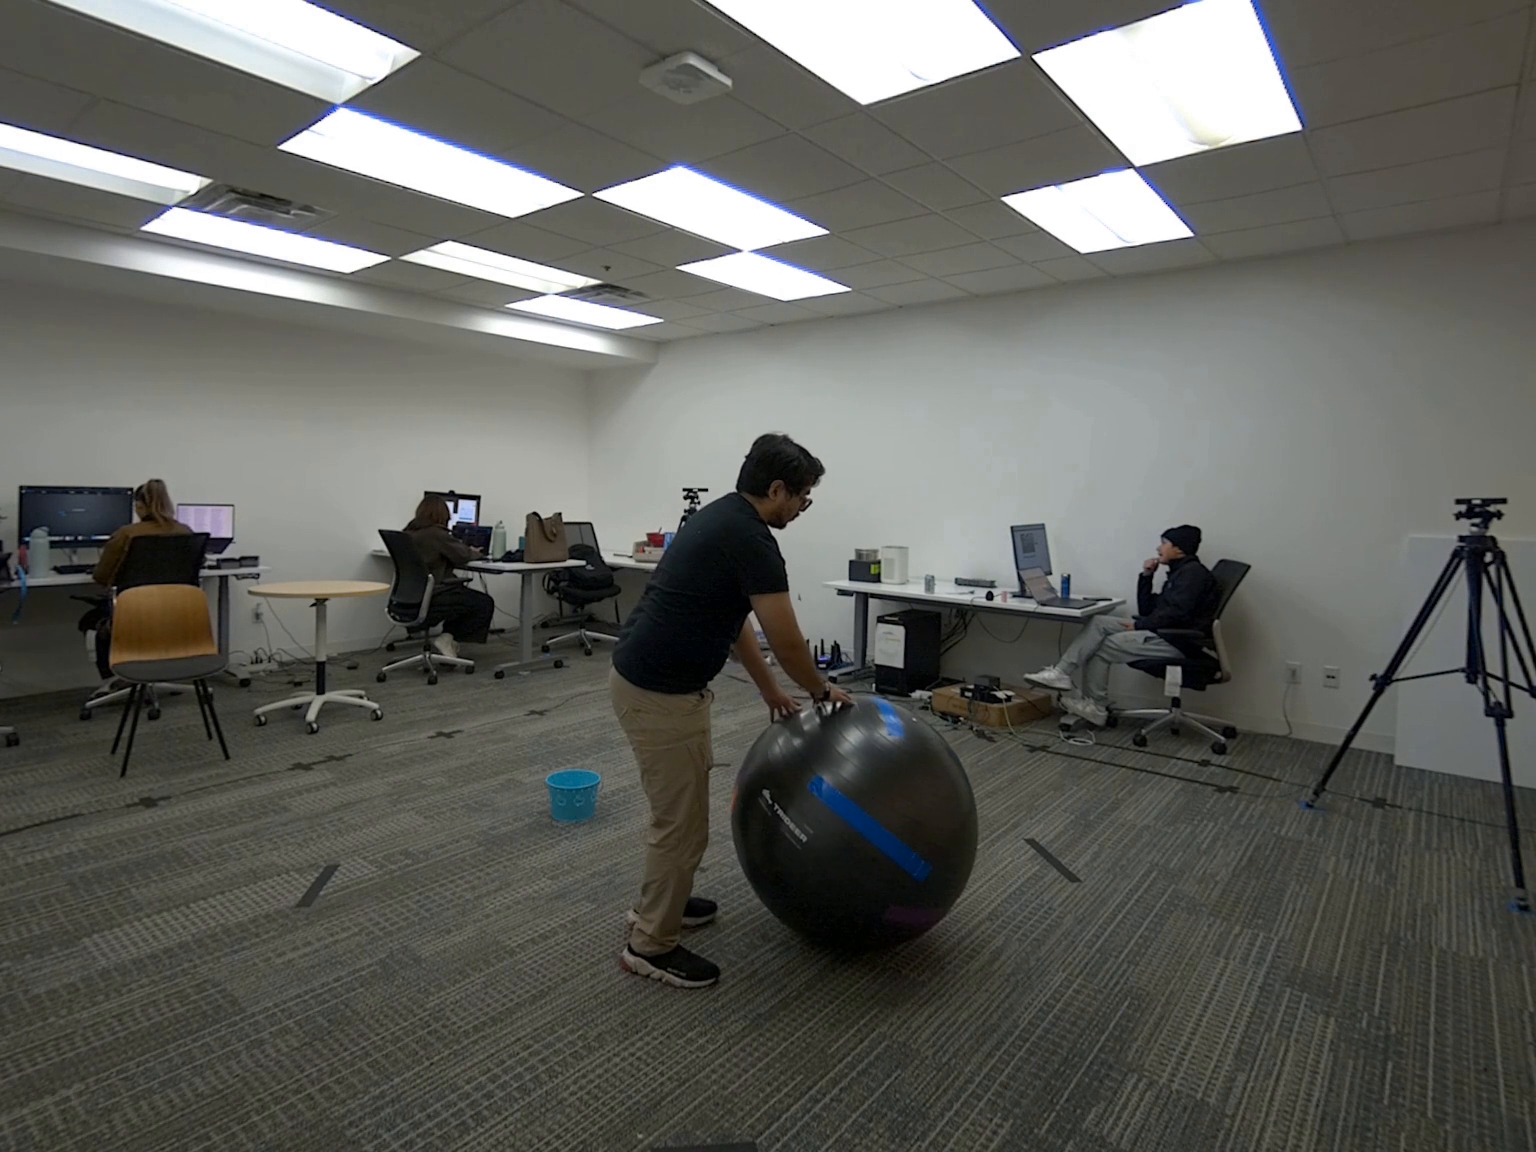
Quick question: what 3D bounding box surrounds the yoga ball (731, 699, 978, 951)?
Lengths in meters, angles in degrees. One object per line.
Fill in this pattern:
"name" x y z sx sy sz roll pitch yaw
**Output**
"yoga ball" 0.273 0.764 2.659 0.757 0.755 0.762 1 4 -2
